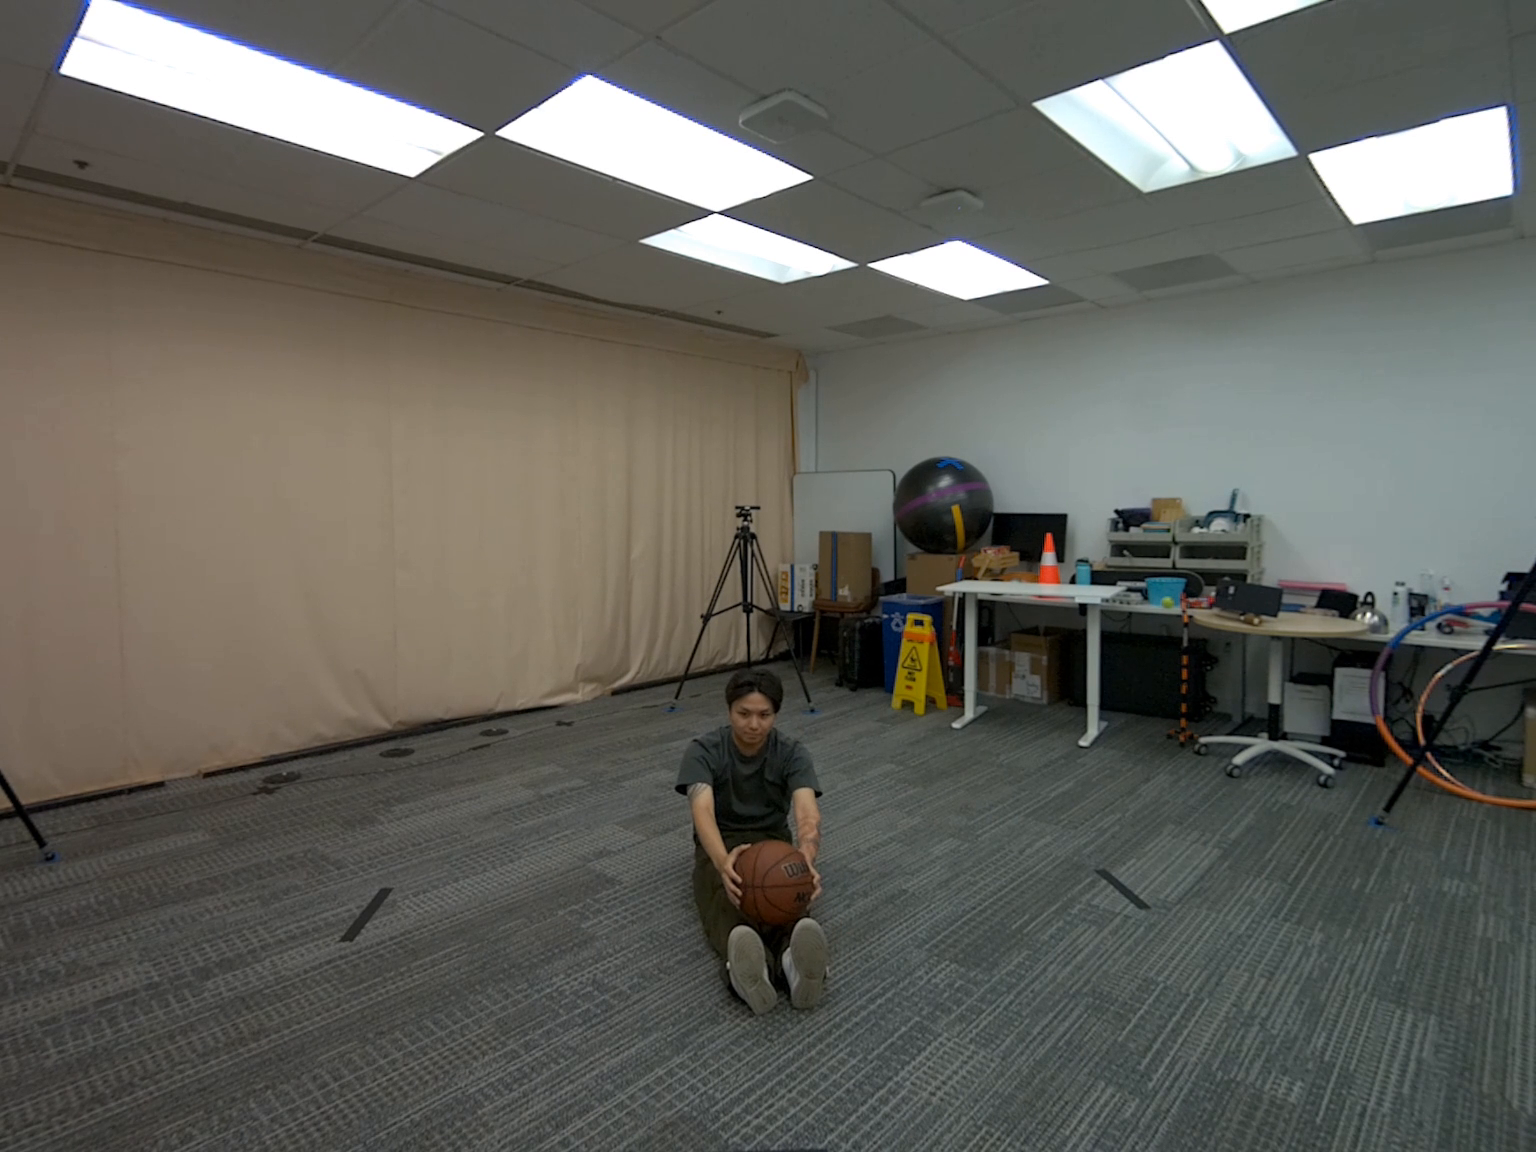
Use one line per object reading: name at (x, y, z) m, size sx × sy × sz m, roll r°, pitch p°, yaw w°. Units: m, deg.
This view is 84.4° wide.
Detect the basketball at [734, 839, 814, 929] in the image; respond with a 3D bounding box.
basketball at (0.023, 0.908, 2.513) m, size 0.236 × 0.235 × 0.237 m, roll 0°, pitch 4°, yaw -2°
